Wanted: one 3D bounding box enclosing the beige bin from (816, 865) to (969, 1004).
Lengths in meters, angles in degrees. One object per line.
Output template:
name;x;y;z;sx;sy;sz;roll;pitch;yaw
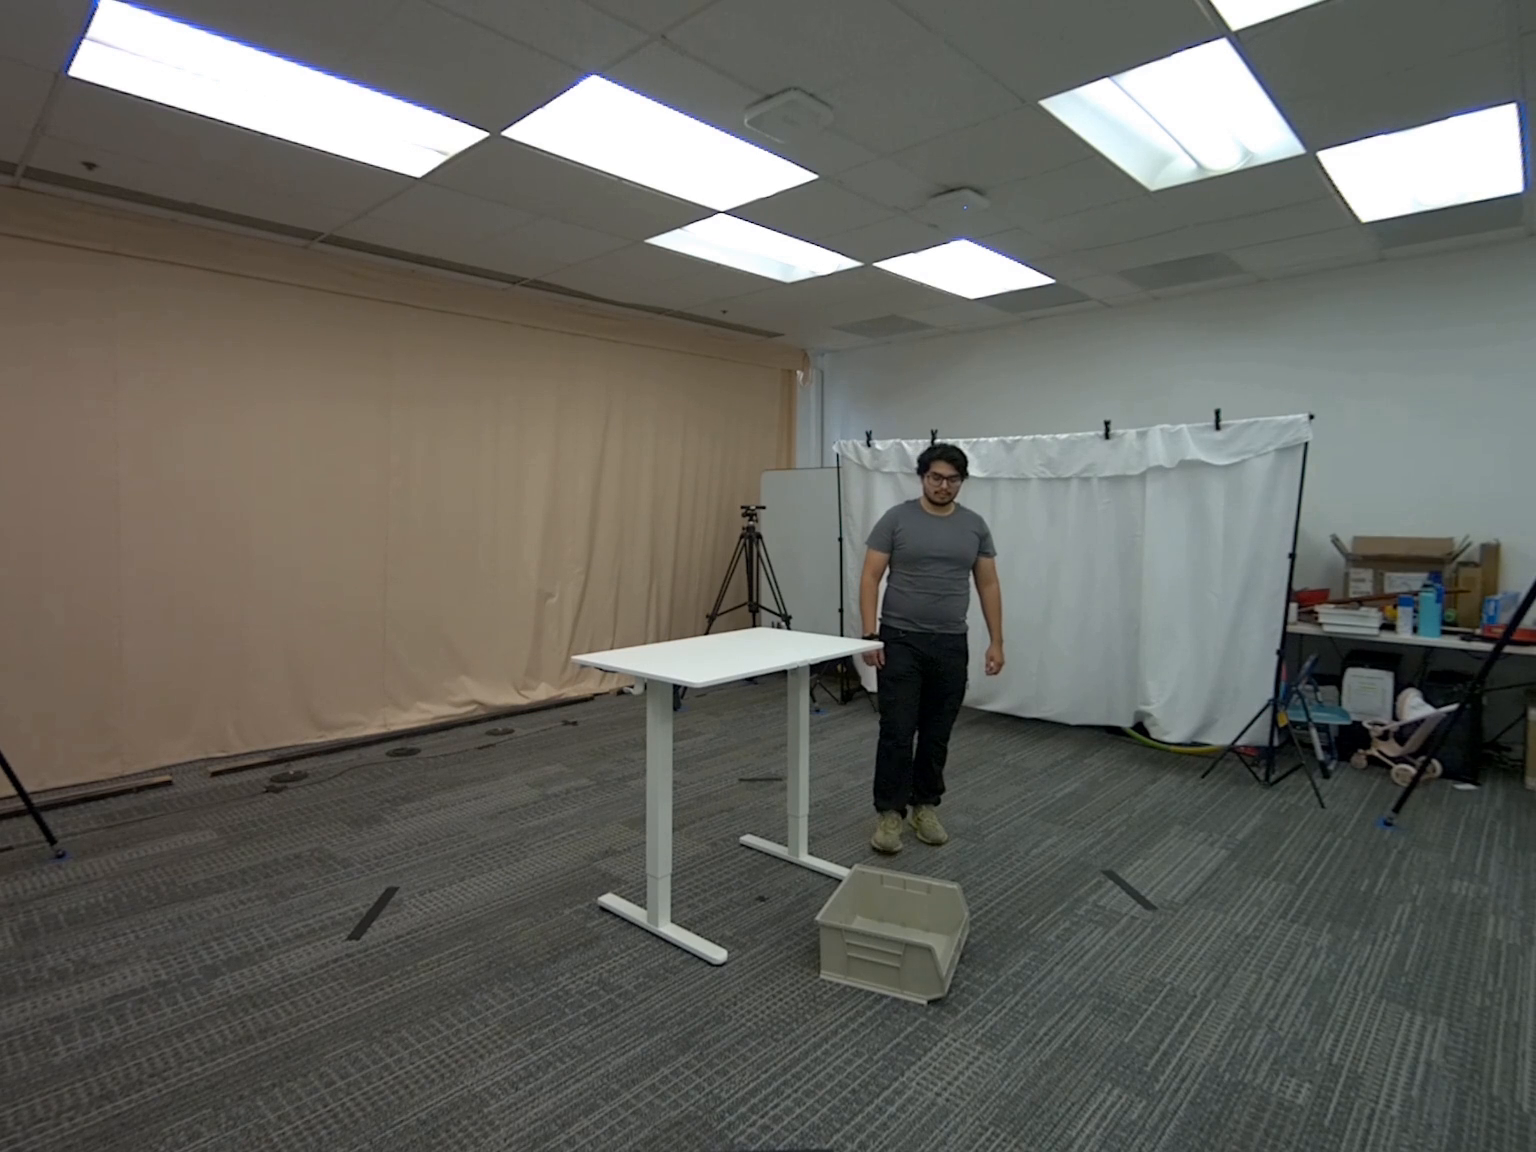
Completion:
beige bin;0.399;1.089;2.585;0.386;0.188;0.413;1;5;23
